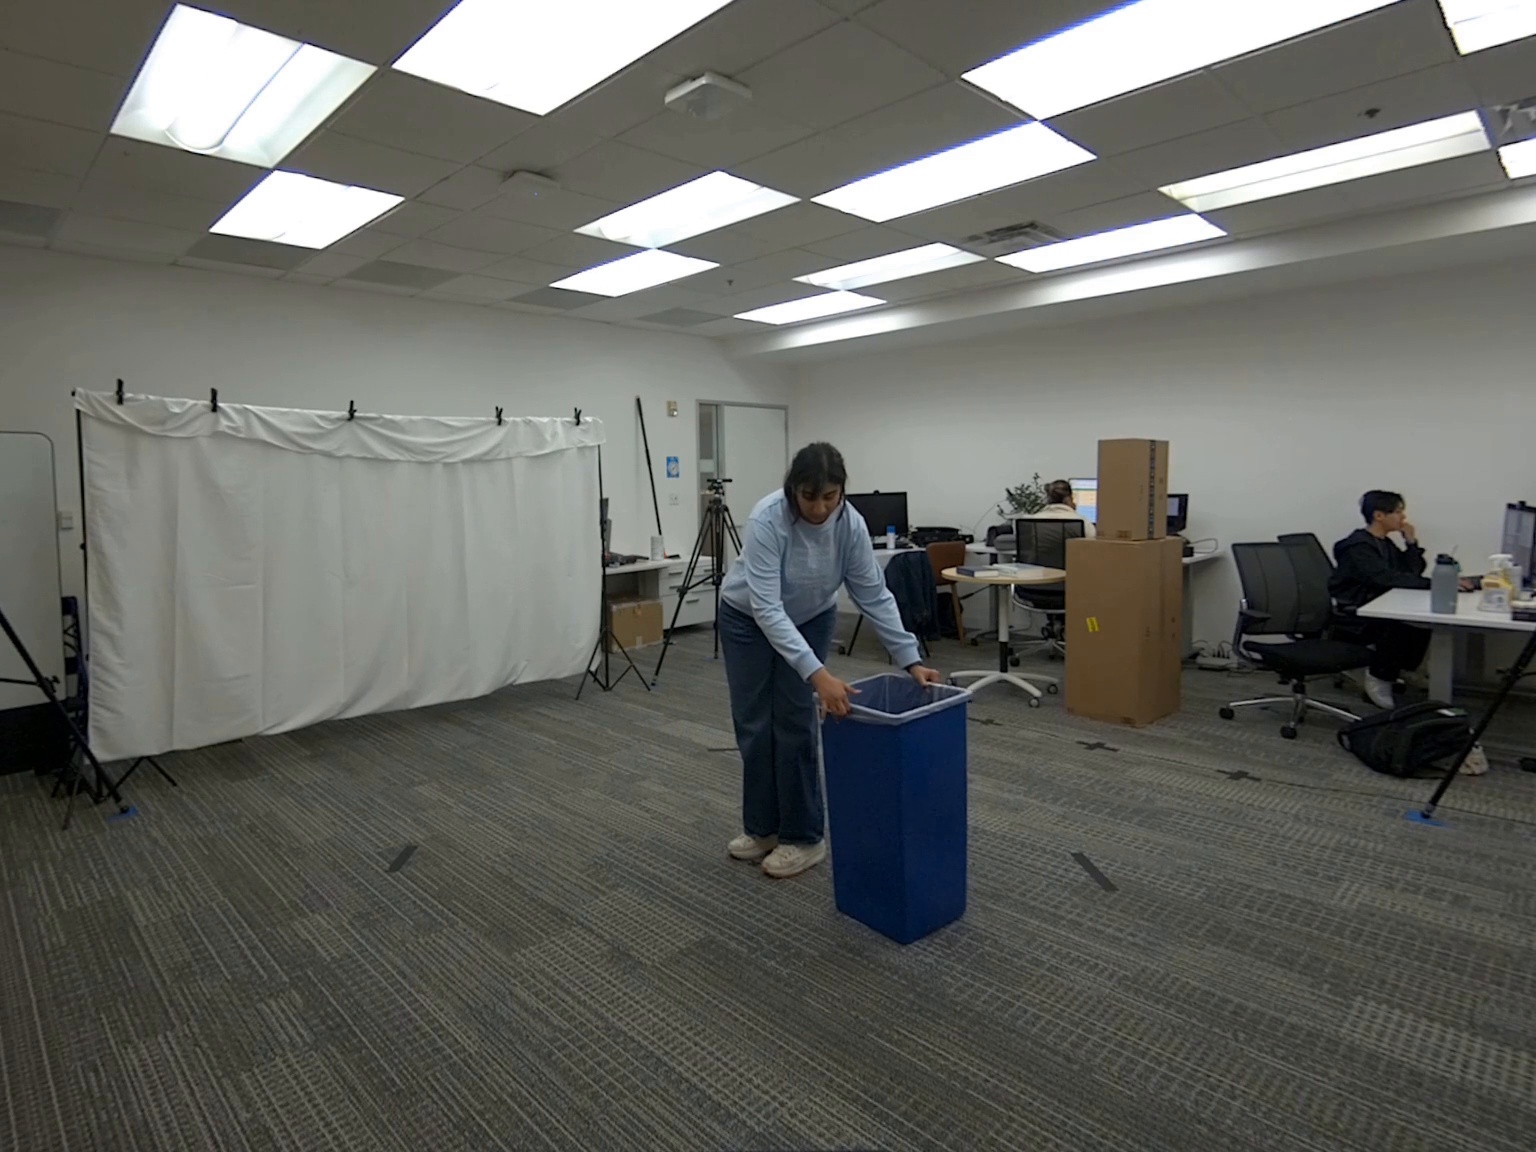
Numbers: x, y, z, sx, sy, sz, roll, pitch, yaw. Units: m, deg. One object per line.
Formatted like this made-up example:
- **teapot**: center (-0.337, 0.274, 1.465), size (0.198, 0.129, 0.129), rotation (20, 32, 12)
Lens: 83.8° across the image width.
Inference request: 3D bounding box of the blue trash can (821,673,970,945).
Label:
- **blue trash can**: center (0.406, 0.715, 2.706), size (0.364, 0.711, 0.389), rotation (-6, 6, -39)
